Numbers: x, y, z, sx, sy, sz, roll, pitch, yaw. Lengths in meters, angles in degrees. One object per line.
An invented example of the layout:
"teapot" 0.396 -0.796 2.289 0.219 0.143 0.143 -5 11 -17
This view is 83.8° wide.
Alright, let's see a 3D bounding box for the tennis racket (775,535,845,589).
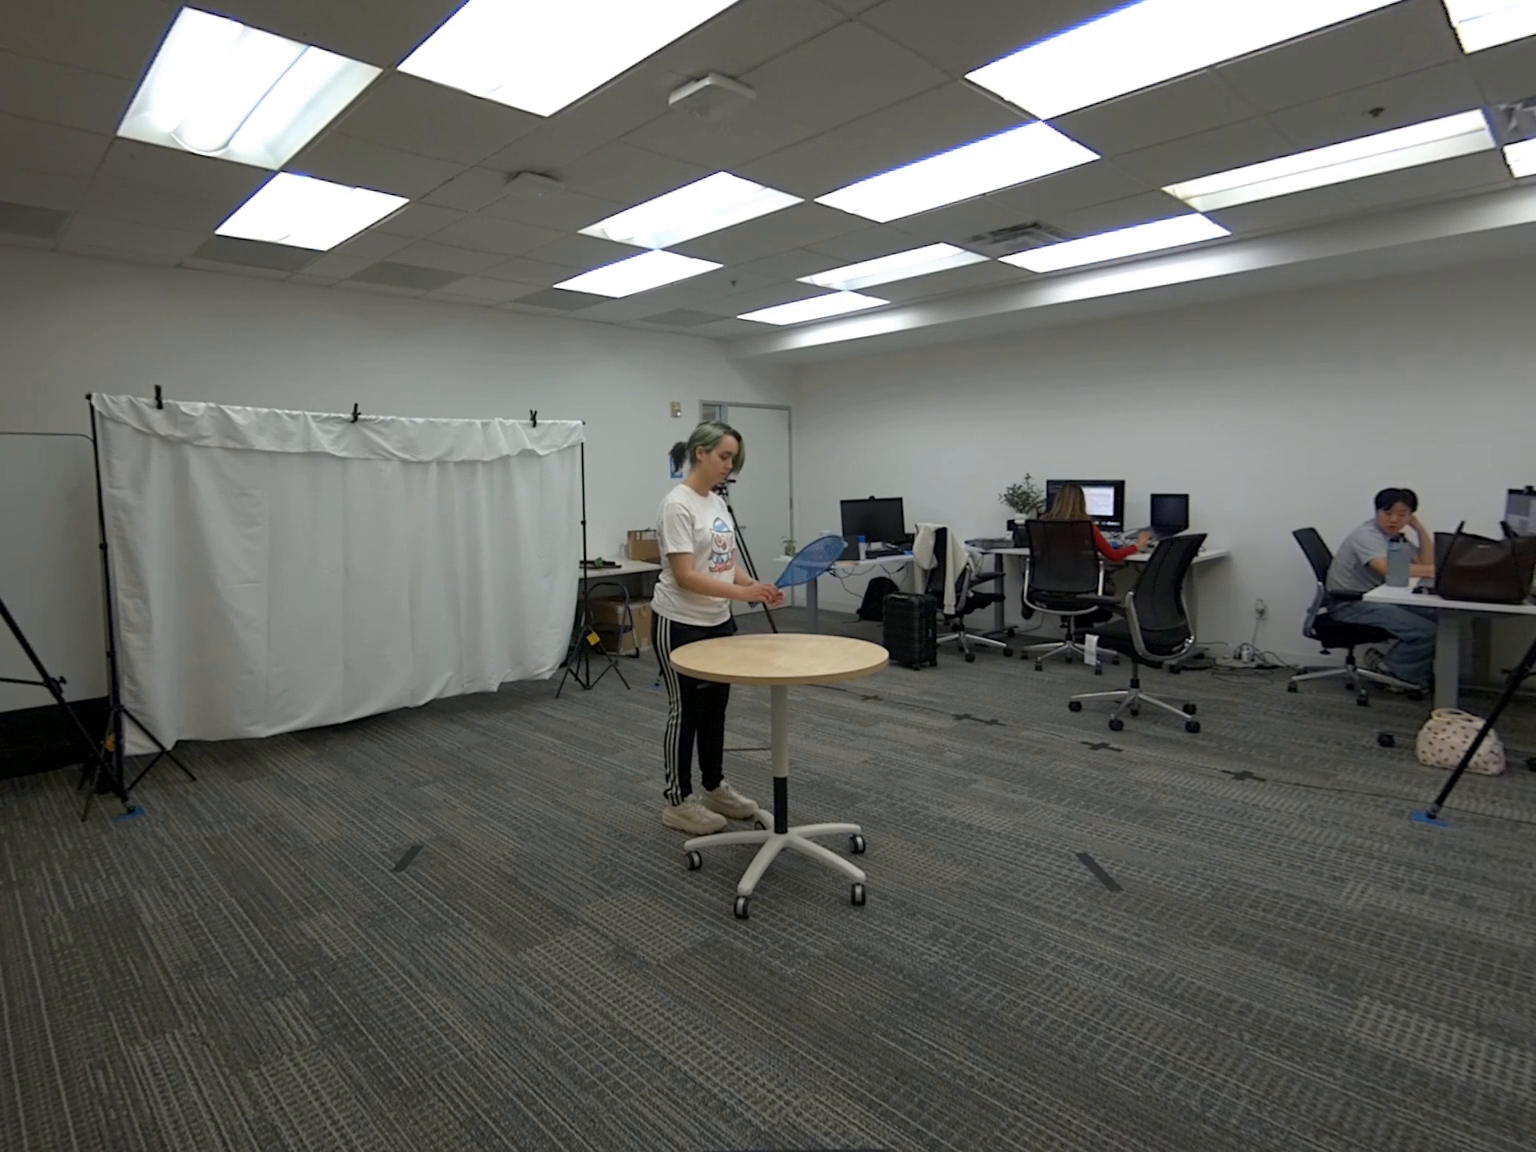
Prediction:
"tennis racket" 0.101 -0.005 3.196 0.435 0.031 0.219 -34 27 14
